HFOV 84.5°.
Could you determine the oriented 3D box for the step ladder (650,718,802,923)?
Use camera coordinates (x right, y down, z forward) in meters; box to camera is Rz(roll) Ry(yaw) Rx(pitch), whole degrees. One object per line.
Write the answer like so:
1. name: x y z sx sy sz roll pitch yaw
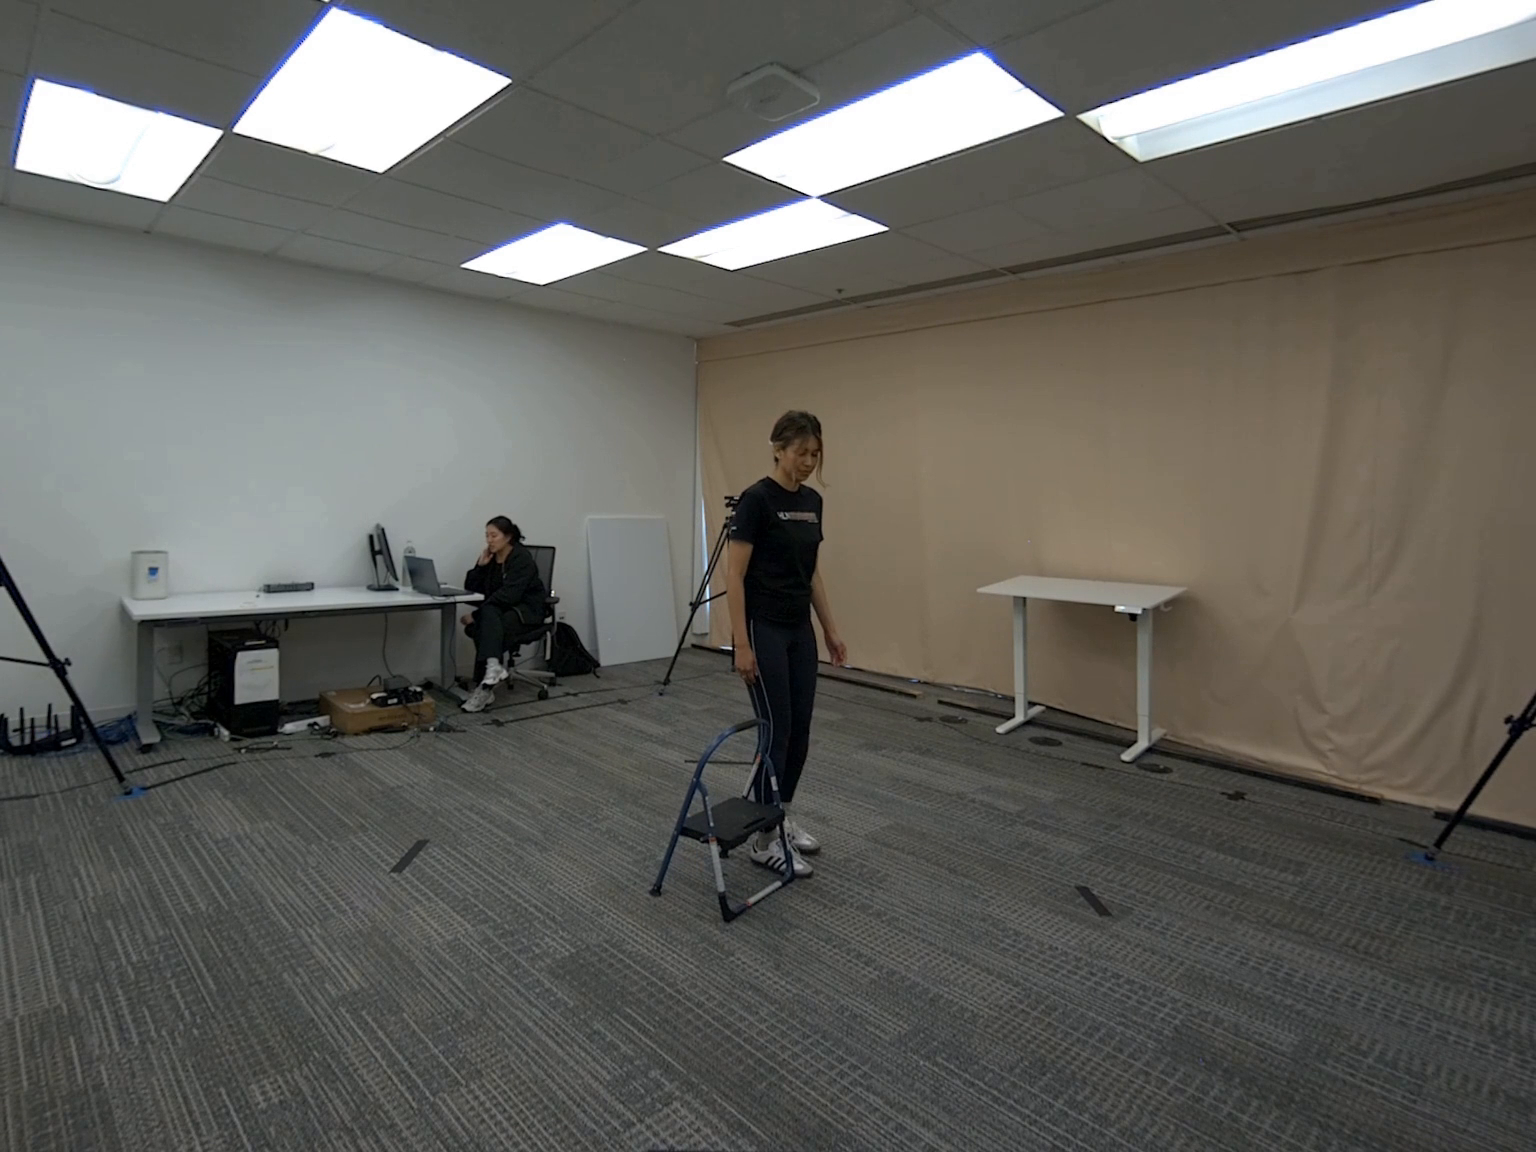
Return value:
1. step ladder: -0.157 0.811 2.991 0.357 0.604 0.422 3 4 34
